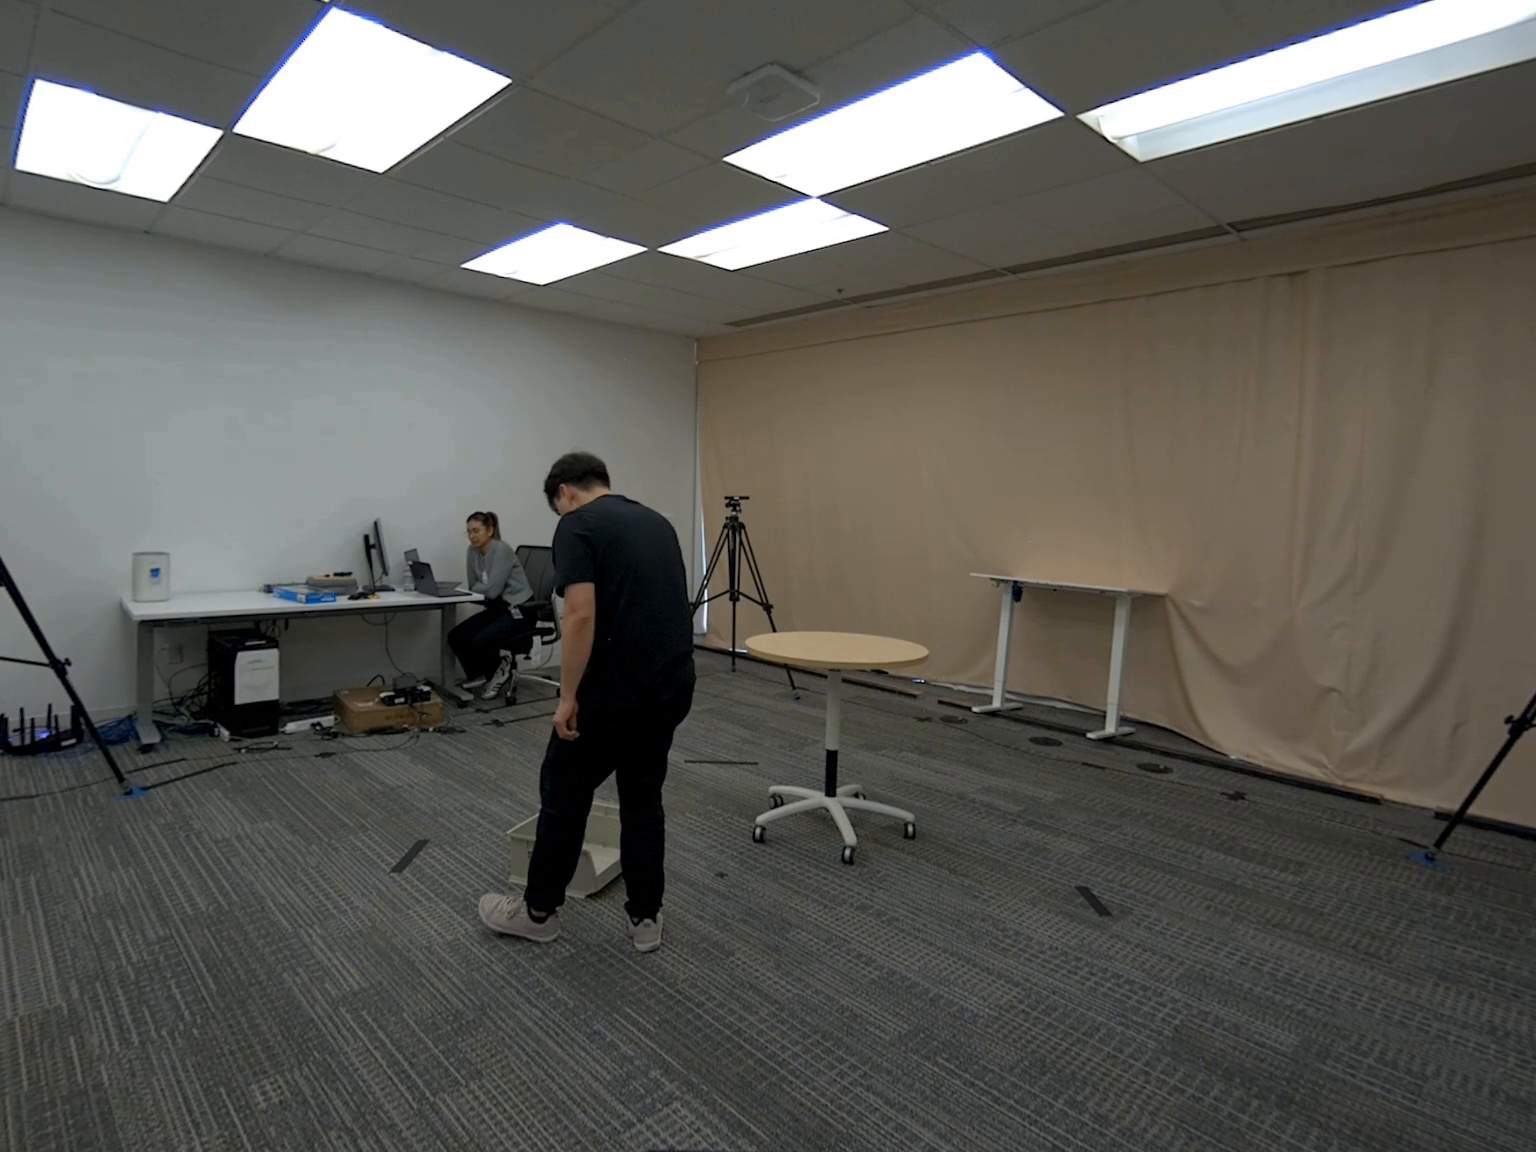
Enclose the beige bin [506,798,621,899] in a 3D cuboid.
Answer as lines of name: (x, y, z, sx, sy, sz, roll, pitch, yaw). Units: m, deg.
beige bin: (-0.697, 1.000, 3.126, 0.383, 0.188, 0.417, 2, 6, 20)
